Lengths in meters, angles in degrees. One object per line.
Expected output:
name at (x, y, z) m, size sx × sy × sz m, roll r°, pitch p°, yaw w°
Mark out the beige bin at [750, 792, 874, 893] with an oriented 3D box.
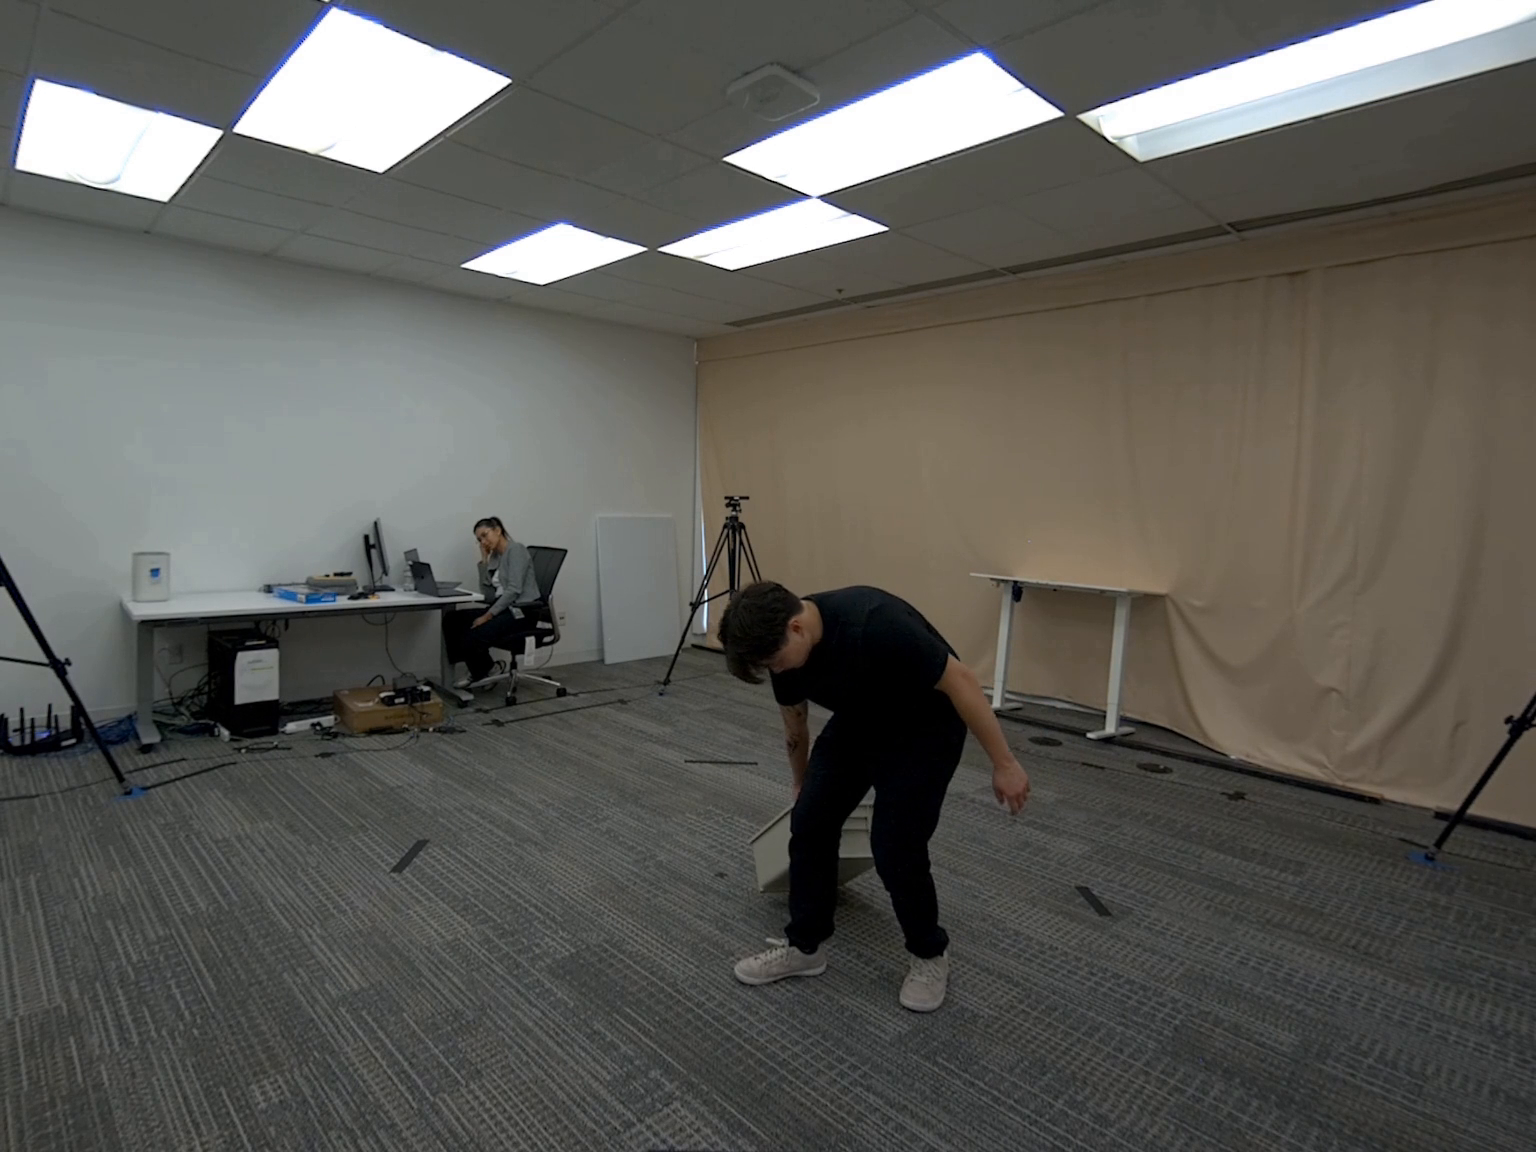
beige bin at (0.188, 0.925, 2.855) m, size 0.370 × 0.193 × 0.420 m, roll 8°, pitch -36°, yaw -23°
